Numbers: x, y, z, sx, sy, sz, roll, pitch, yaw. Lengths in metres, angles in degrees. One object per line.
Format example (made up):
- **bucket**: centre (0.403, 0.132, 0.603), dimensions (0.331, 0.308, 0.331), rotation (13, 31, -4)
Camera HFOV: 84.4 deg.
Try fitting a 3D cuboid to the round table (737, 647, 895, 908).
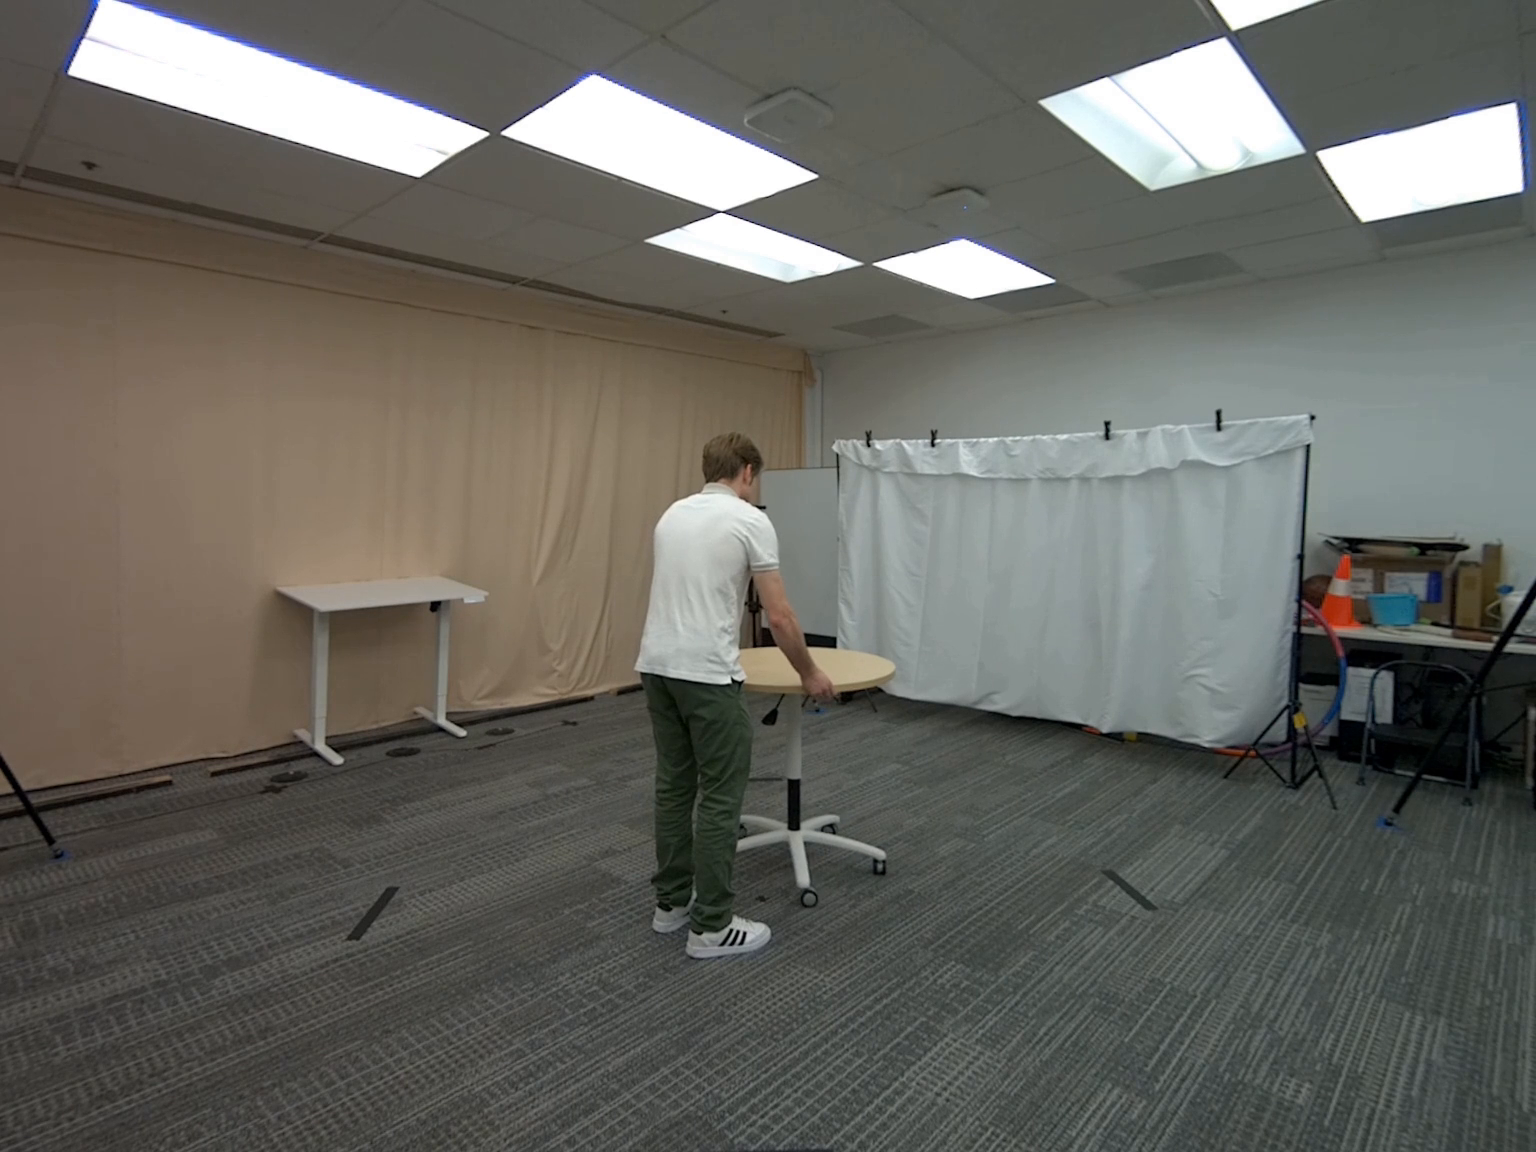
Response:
- **round table**: centre (0.106, 0.730, 3.250), dimensions (0.763, 0.792, 0.767), rotation (0, 4, -2)
